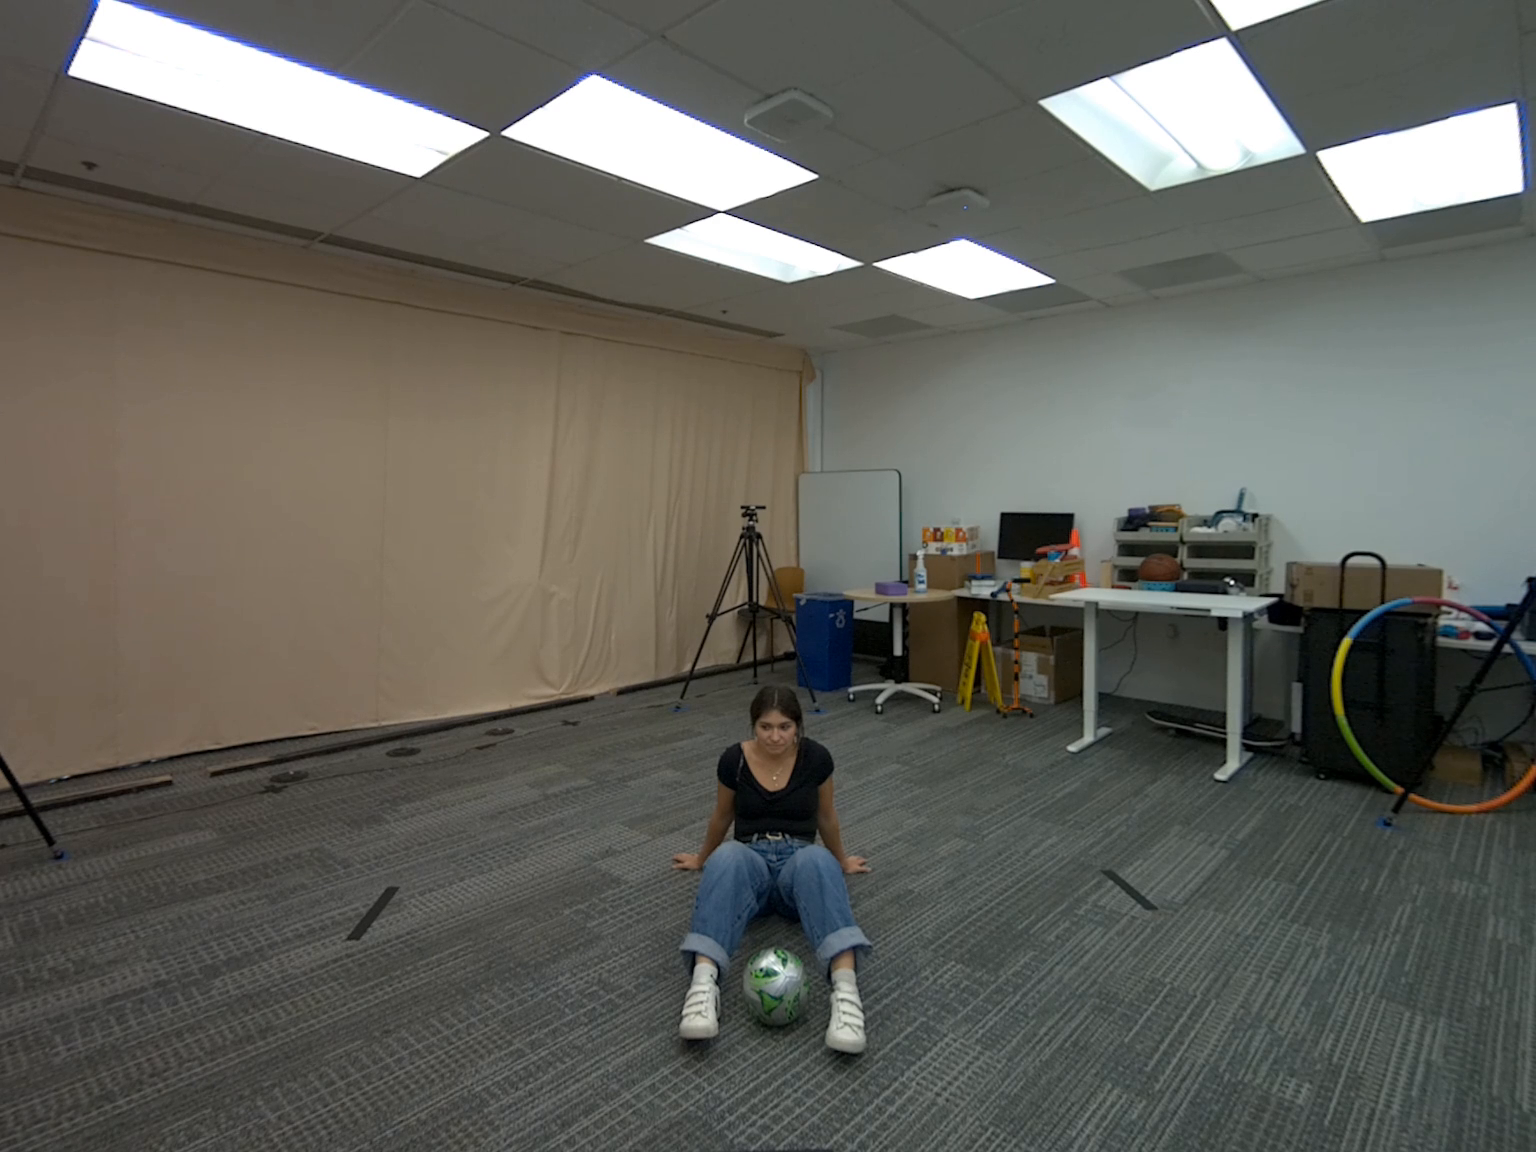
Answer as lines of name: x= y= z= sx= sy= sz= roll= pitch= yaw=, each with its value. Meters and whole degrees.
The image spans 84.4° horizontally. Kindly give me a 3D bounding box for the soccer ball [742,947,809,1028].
soccer ball: x=0.026 y=1.105 z=2.281 sx=0.187 sy=0.187 sz=0.188 roll=3 pitch=4 yaw=-2
